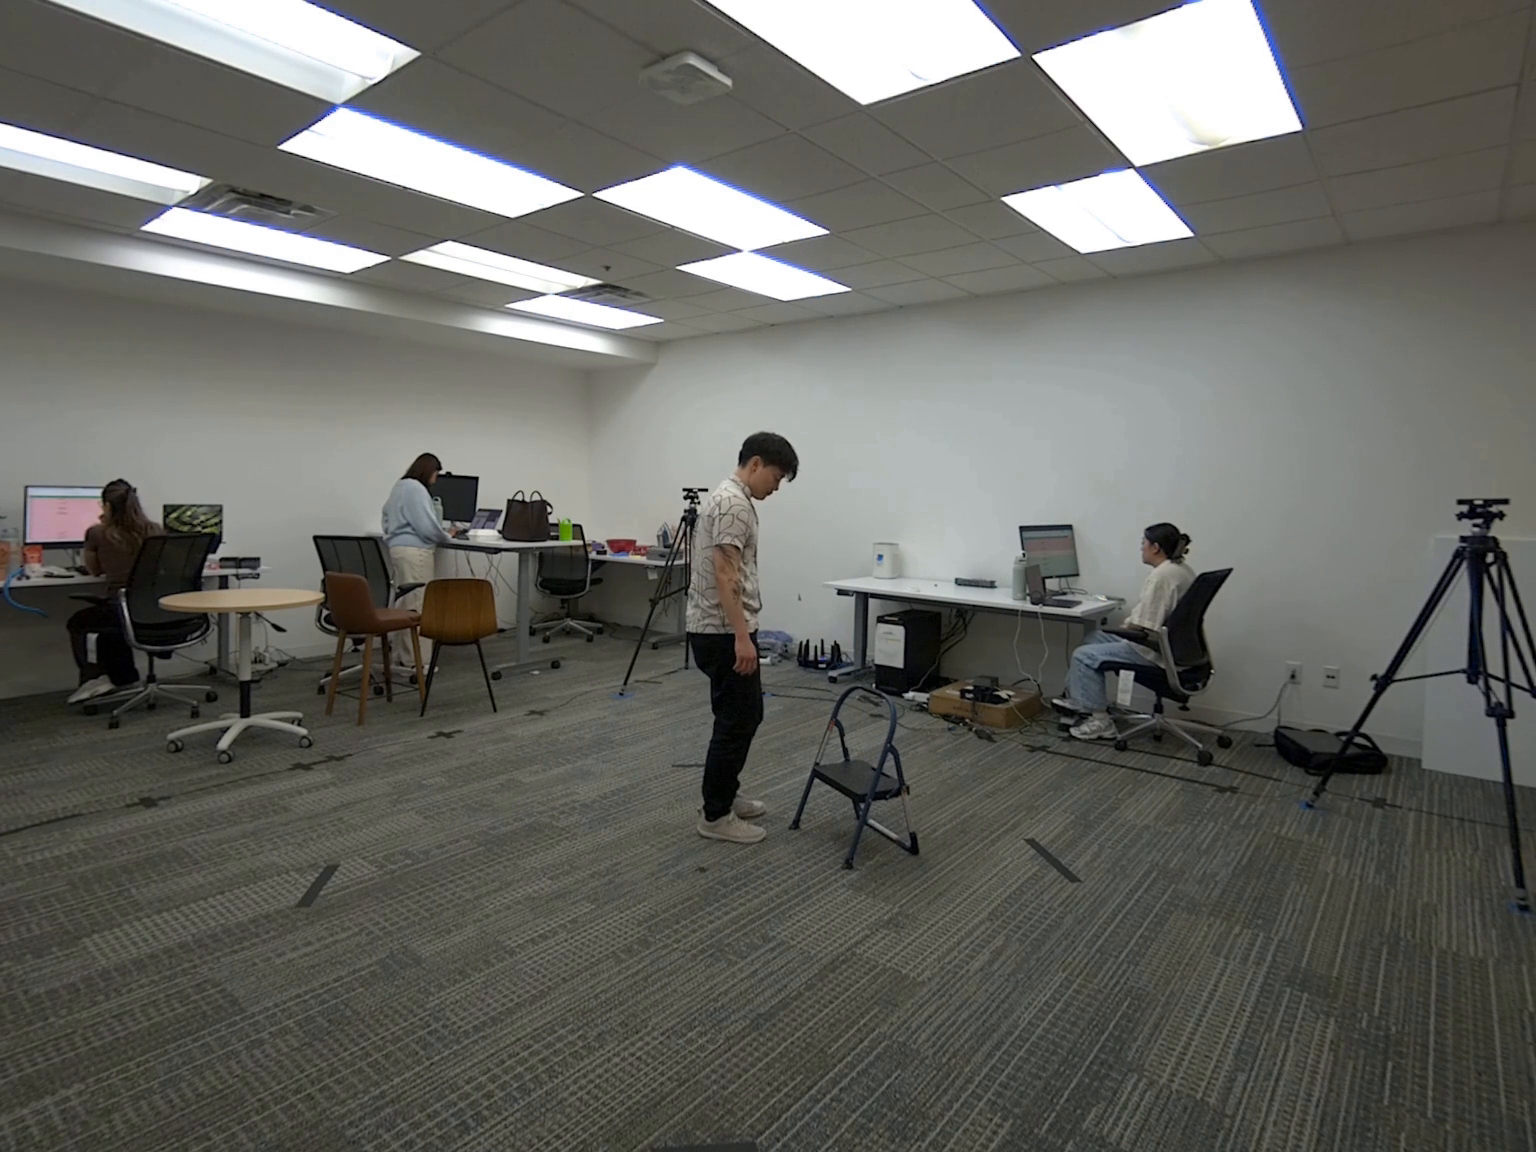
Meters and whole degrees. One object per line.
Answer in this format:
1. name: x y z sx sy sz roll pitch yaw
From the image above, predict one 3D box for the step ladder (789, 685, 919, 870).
1. step ladder: 0.342 0.753 3.377 0.340 0.604 0.443 0 4 -28
